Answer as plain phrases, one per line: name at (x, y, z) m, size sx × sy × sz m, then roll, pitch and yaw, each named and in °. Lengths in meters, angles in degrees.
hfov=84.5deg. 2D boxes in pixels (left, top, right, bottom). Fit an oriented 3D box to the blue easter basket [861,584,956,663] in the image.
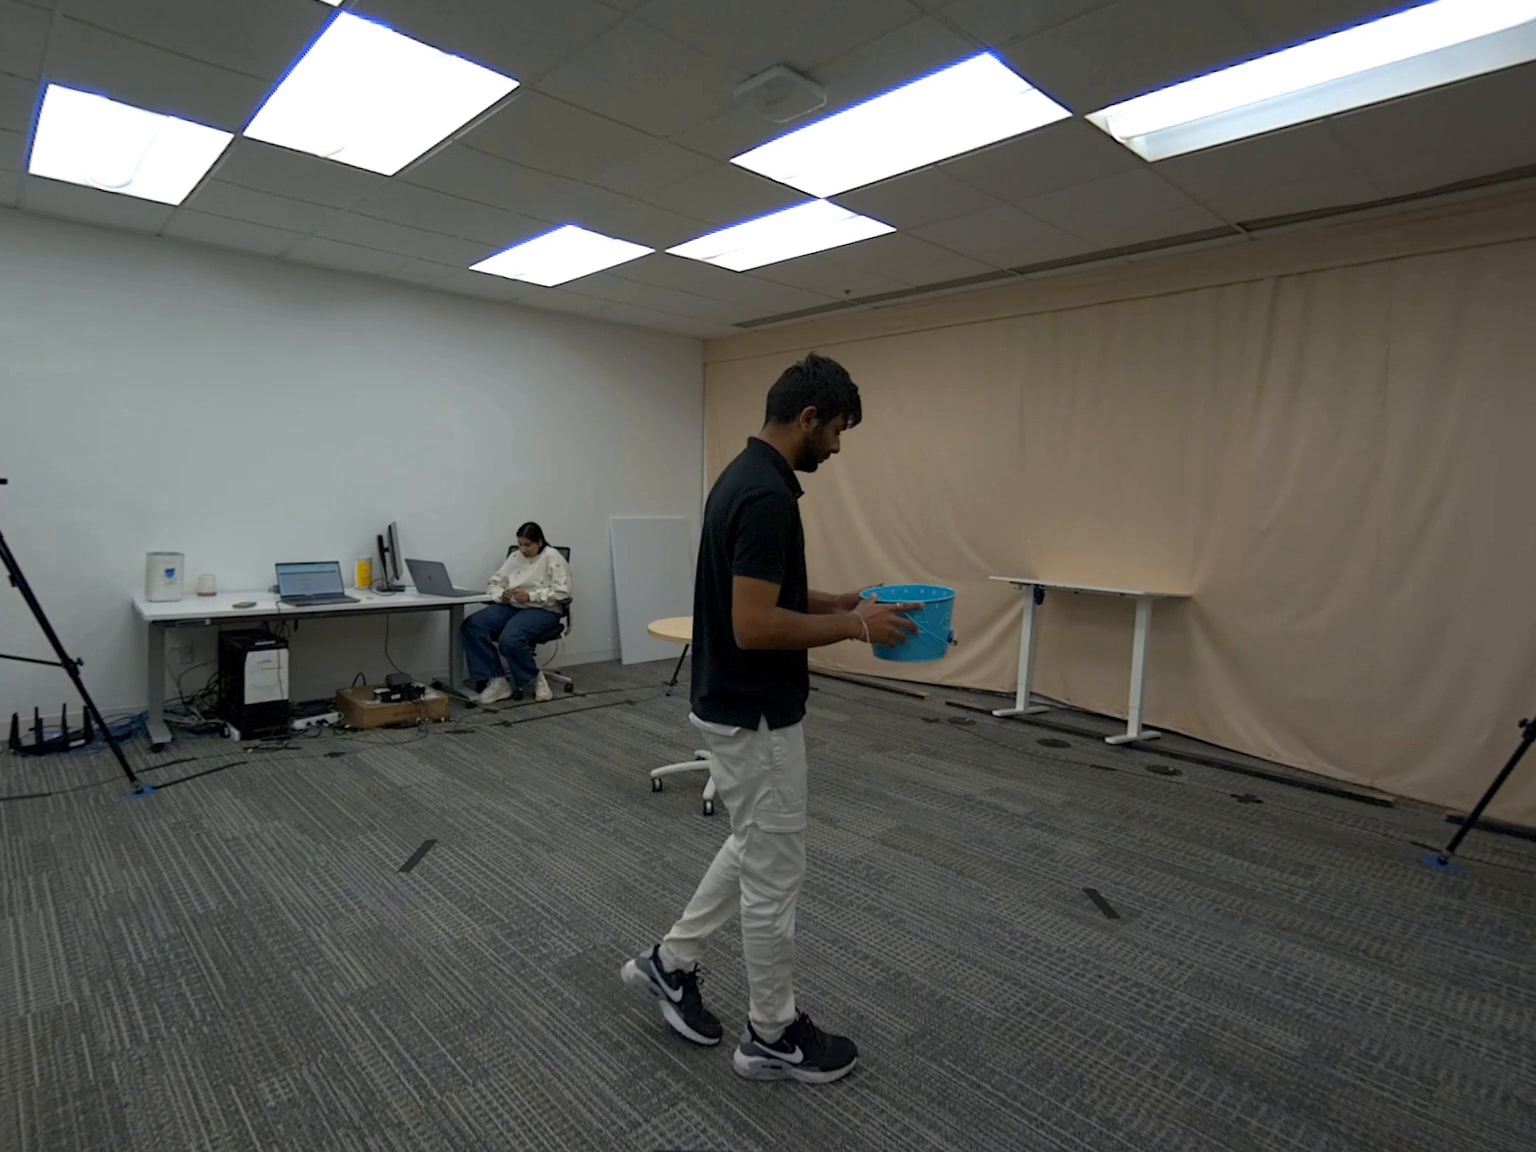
blue easter basket at (0.320, 0.125, 2.050) m, size 0.243 × 0.155 × 0.245 m, roll -3°, pitch 8°, yaw -1°
